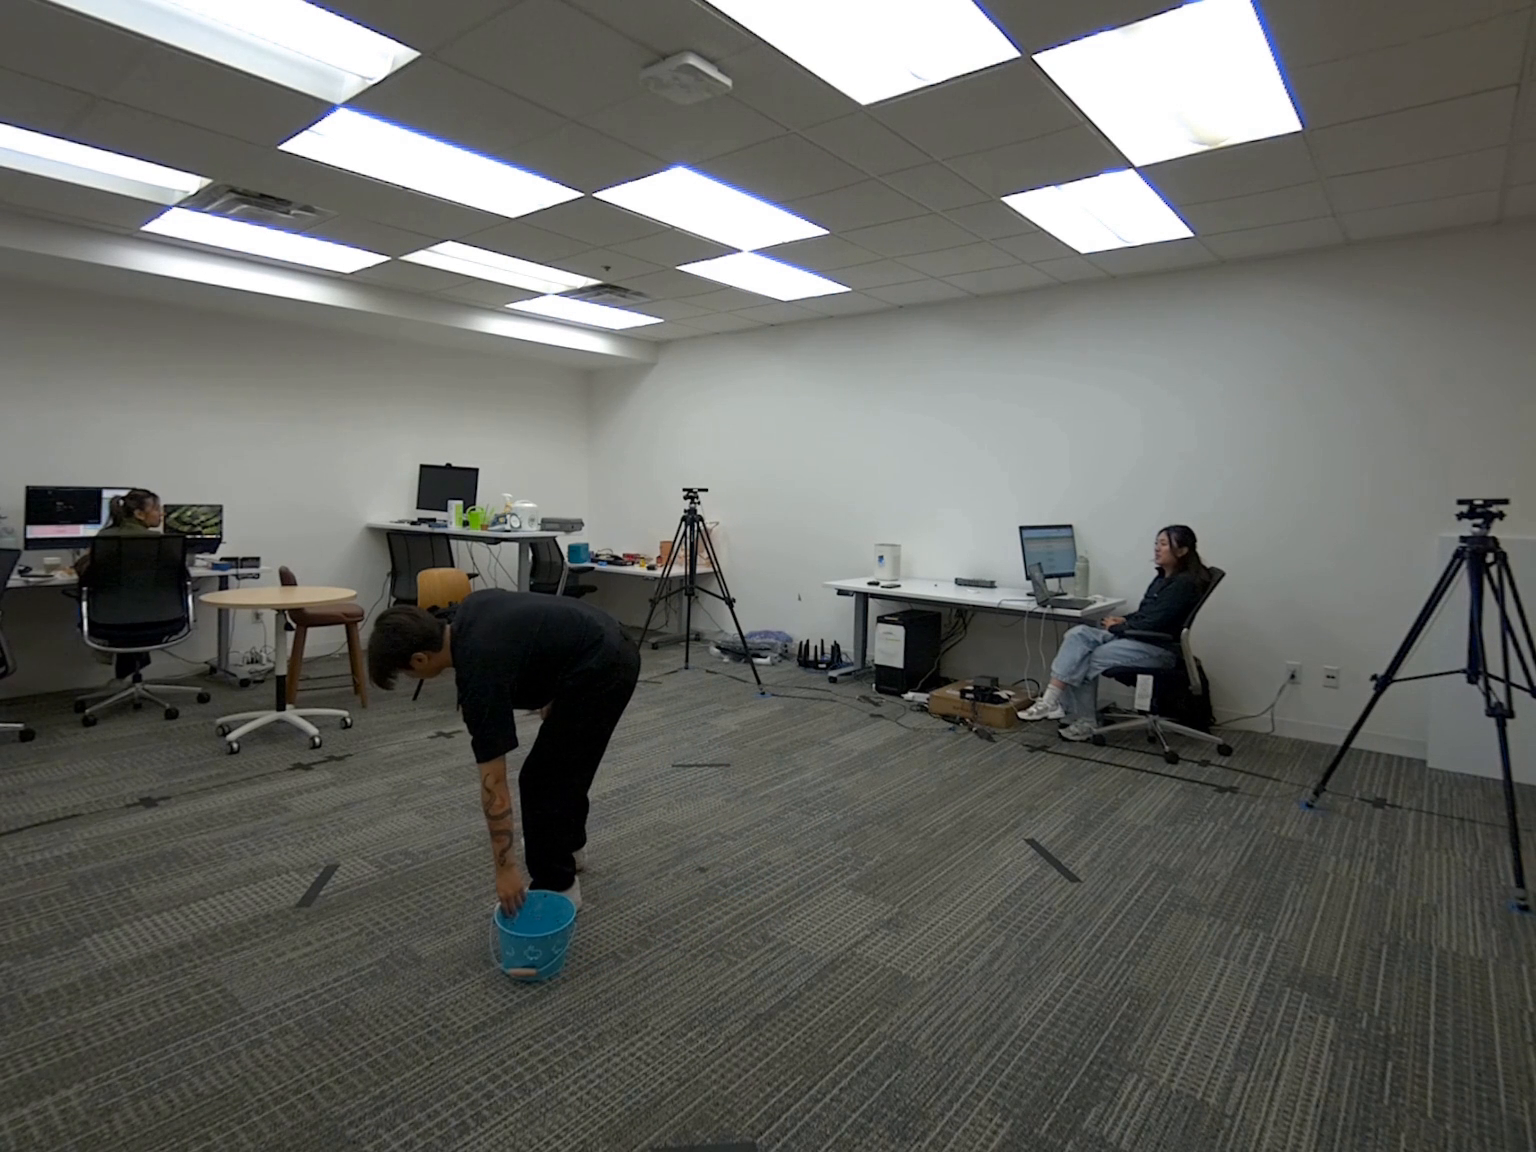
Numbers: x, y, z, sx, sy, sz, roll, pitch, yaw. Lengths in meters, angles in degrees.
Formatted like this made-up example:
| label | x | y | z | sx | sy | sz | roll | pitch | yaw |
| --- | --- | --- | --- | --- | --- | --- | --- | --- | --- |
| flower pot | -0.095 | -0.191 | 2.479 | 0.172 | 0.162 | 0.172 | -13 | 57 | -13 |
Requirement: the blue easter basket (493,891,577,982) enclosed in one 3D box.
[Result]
| label | x | y | z | sx | sy | sz | roll | pitch | yaw |
| --- | --- | --- | --- | --- | --- | --- | --- | --- | --- |
| blue easter basket | -0.682 | 1.043 | 2.468 | 0.243 | 0.155 | 0.245 | 3 | 8 | -2 |
